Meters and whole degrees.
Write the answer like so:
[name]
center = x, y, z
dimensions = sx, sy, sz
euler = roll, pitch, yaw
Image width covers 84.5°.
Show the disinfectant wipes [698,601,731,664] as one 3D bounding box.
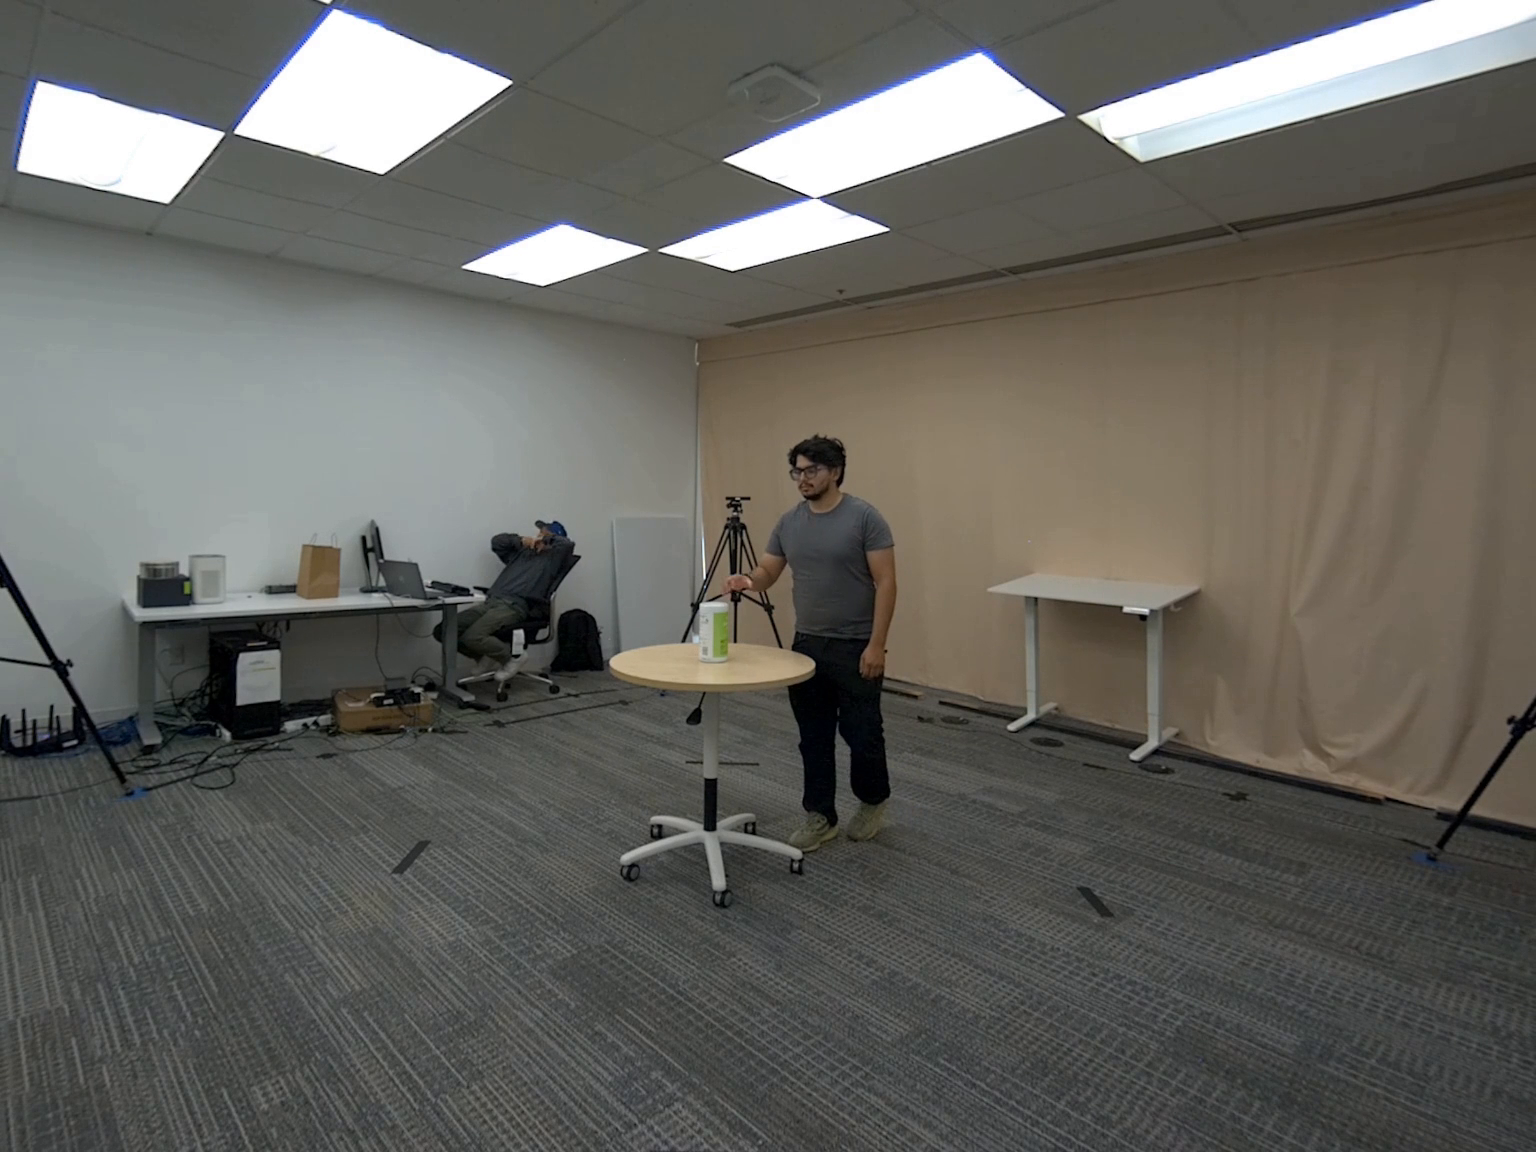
[disinfectant wipes]
center = -0.209, 0.212, 3.144
dimensions = 0.118, 0.217, 0.118
euler = 2, 4, -2
